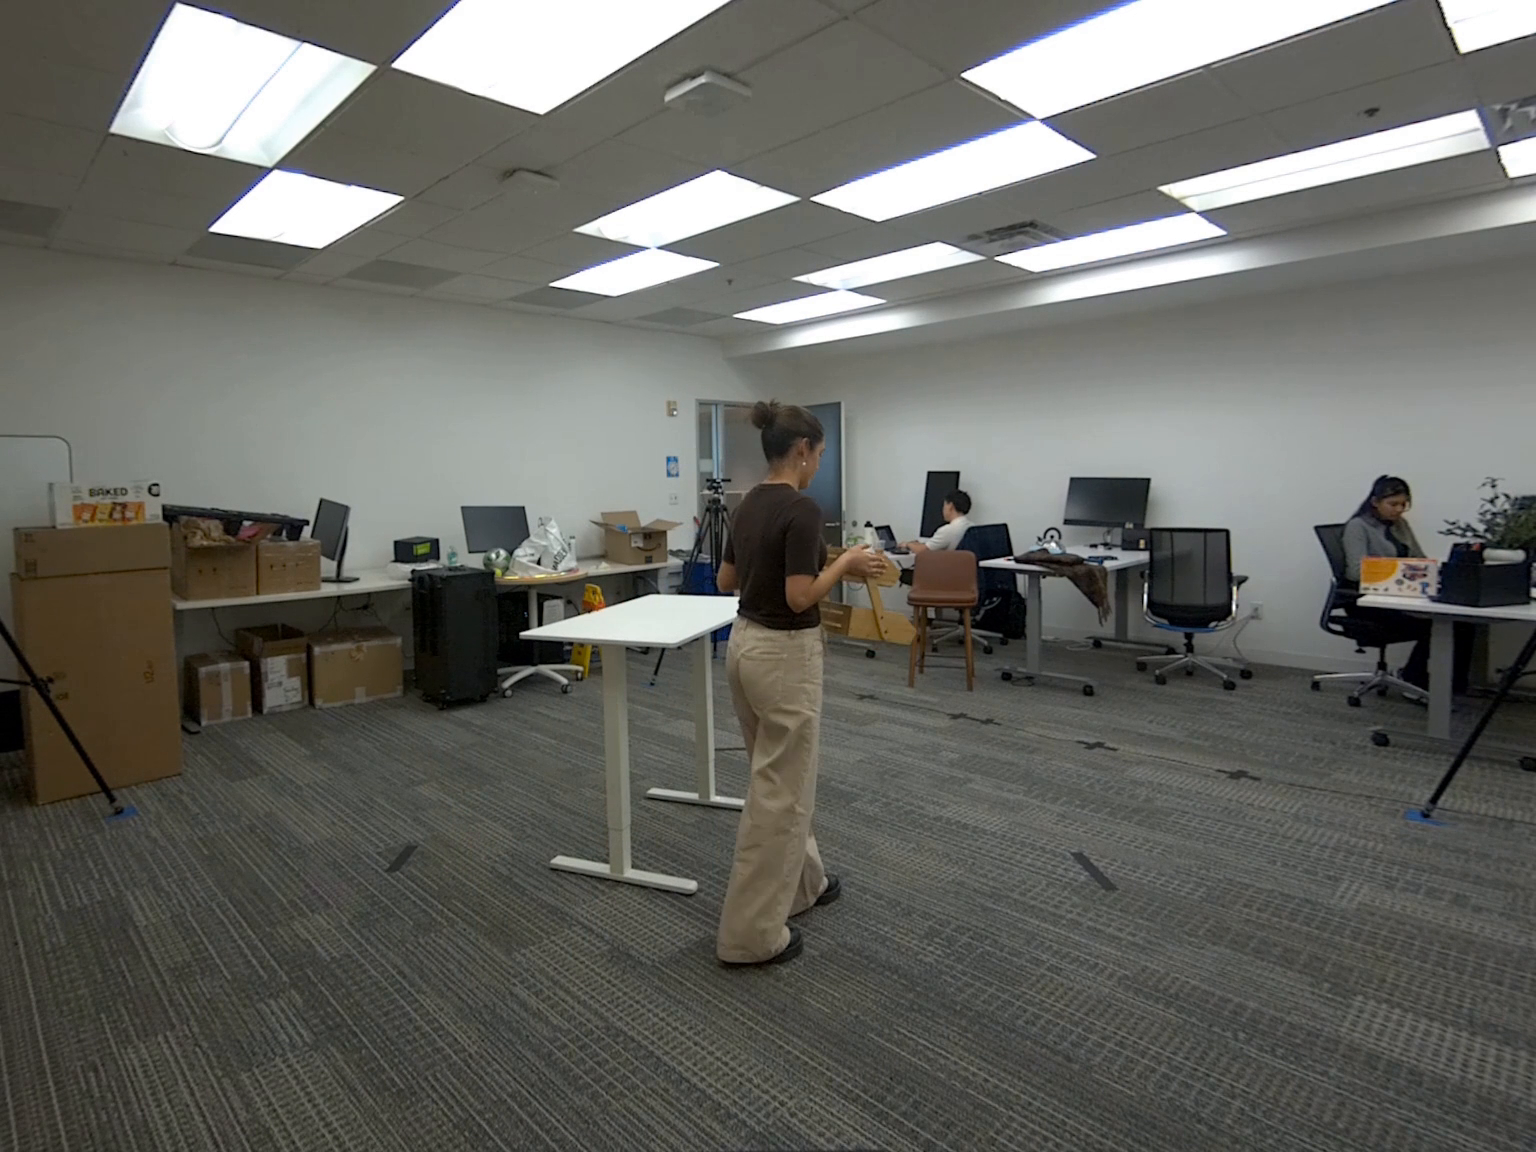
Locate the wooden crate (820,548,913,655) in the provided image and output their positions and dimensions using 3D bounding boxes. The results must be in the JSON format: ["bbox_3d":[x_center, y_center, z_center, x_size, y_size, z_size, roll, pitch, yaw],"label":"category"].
[{"bbox_3d":[0.278,0.051,2.734,0.294,0.274,0.332,9,-2,-26],"label":"wooden crate"}]
